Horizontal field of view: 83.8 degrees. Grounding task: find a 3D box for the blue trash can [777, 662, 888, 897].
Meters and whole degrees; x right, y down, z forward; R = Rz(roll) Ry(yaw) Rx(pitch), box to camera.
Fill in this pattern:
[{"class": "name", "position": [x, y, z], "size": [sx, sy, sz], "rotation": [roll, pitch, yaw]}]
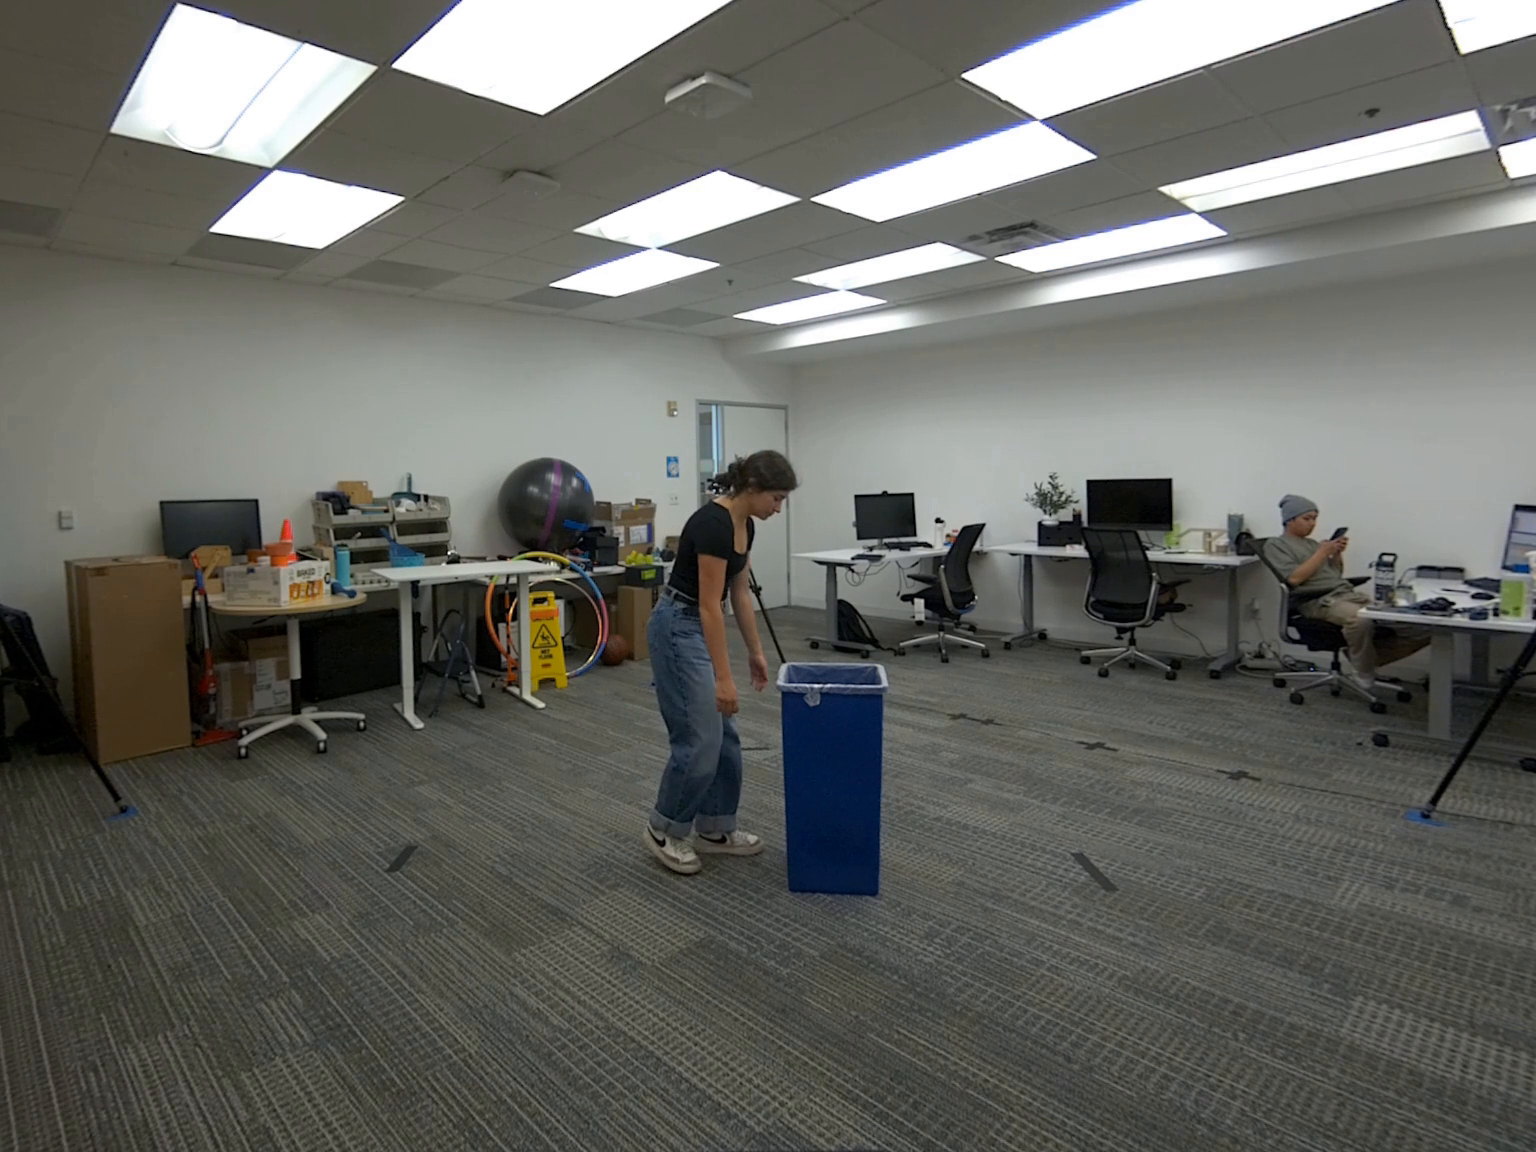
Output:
[{"class": "blue trash can", "position": [0.222, 0.691, 3.002], "size": [0.381, 0.711, 0.373], "rotation": [0, 4, 7]}]
